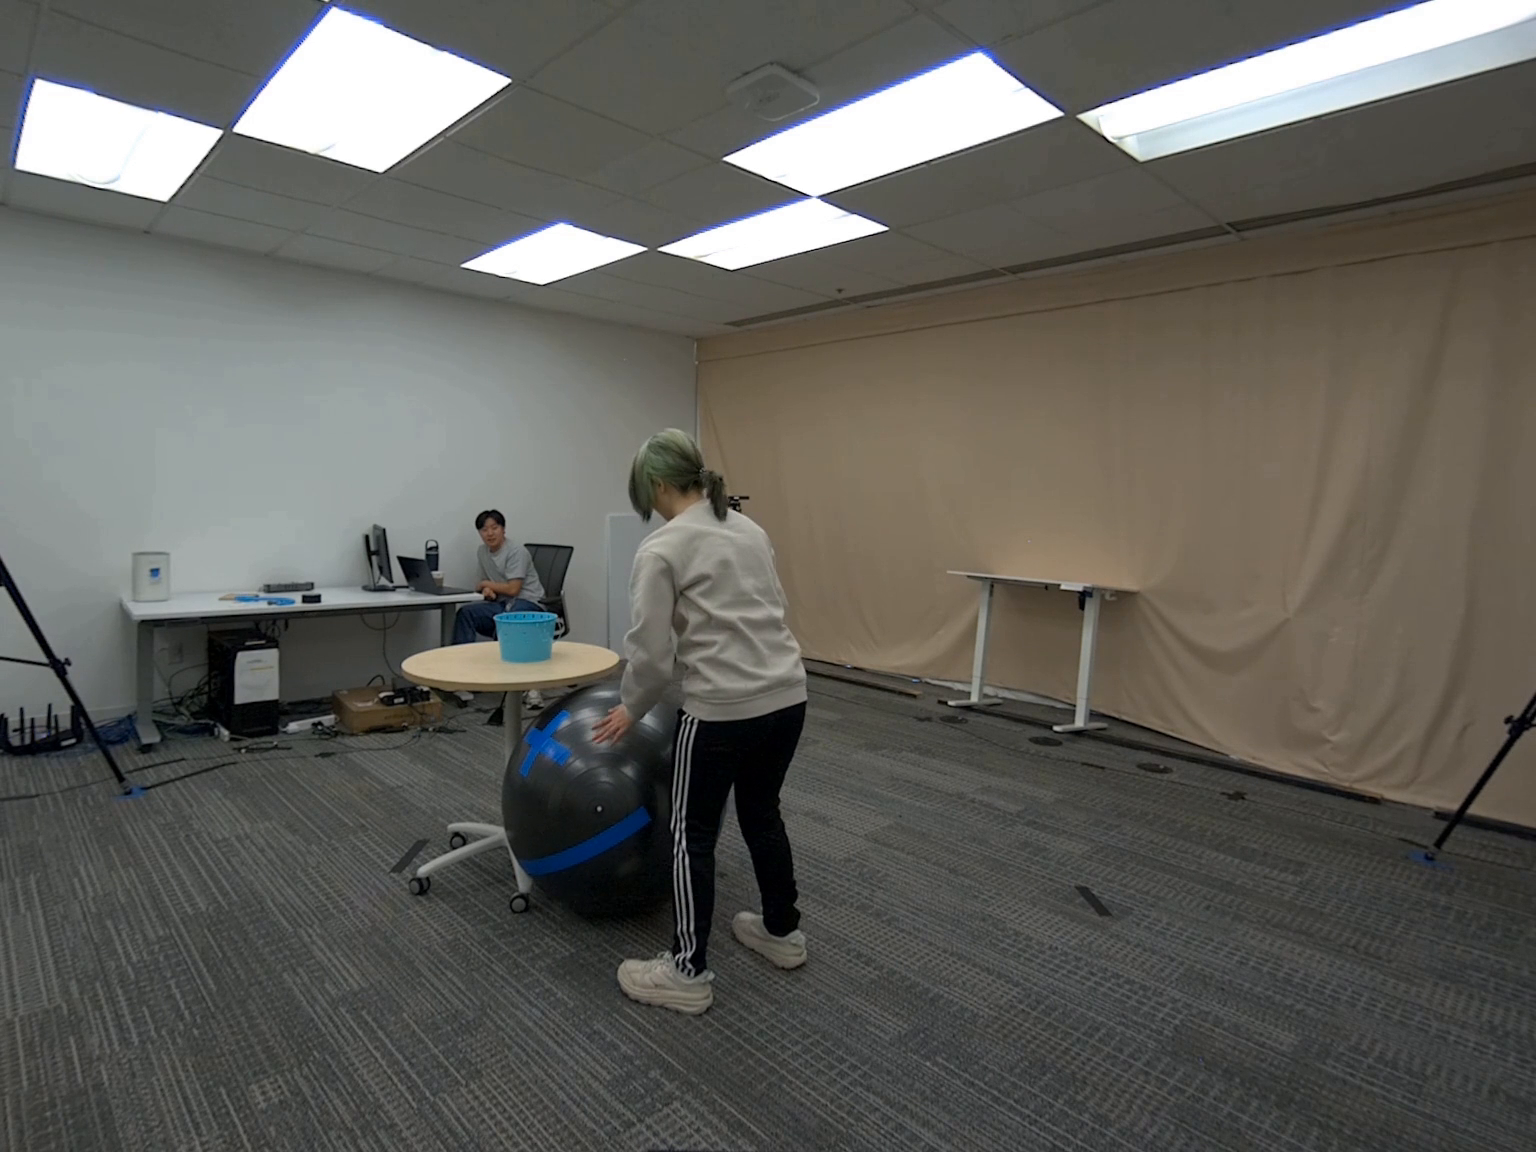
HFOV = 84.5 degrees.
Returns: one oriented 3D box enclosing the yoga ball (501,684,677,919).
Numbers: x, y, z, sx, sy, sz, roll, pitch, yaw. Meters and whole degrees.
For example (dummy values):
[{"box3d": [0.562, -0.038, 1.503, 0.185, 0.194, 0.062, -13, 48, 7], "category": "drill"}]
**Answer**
[{"box3d": [-0.523, 0.748, 2.867, 0.757, 0.756, 0.761, 1, 4, -1], "category": "yoga ball"}]
